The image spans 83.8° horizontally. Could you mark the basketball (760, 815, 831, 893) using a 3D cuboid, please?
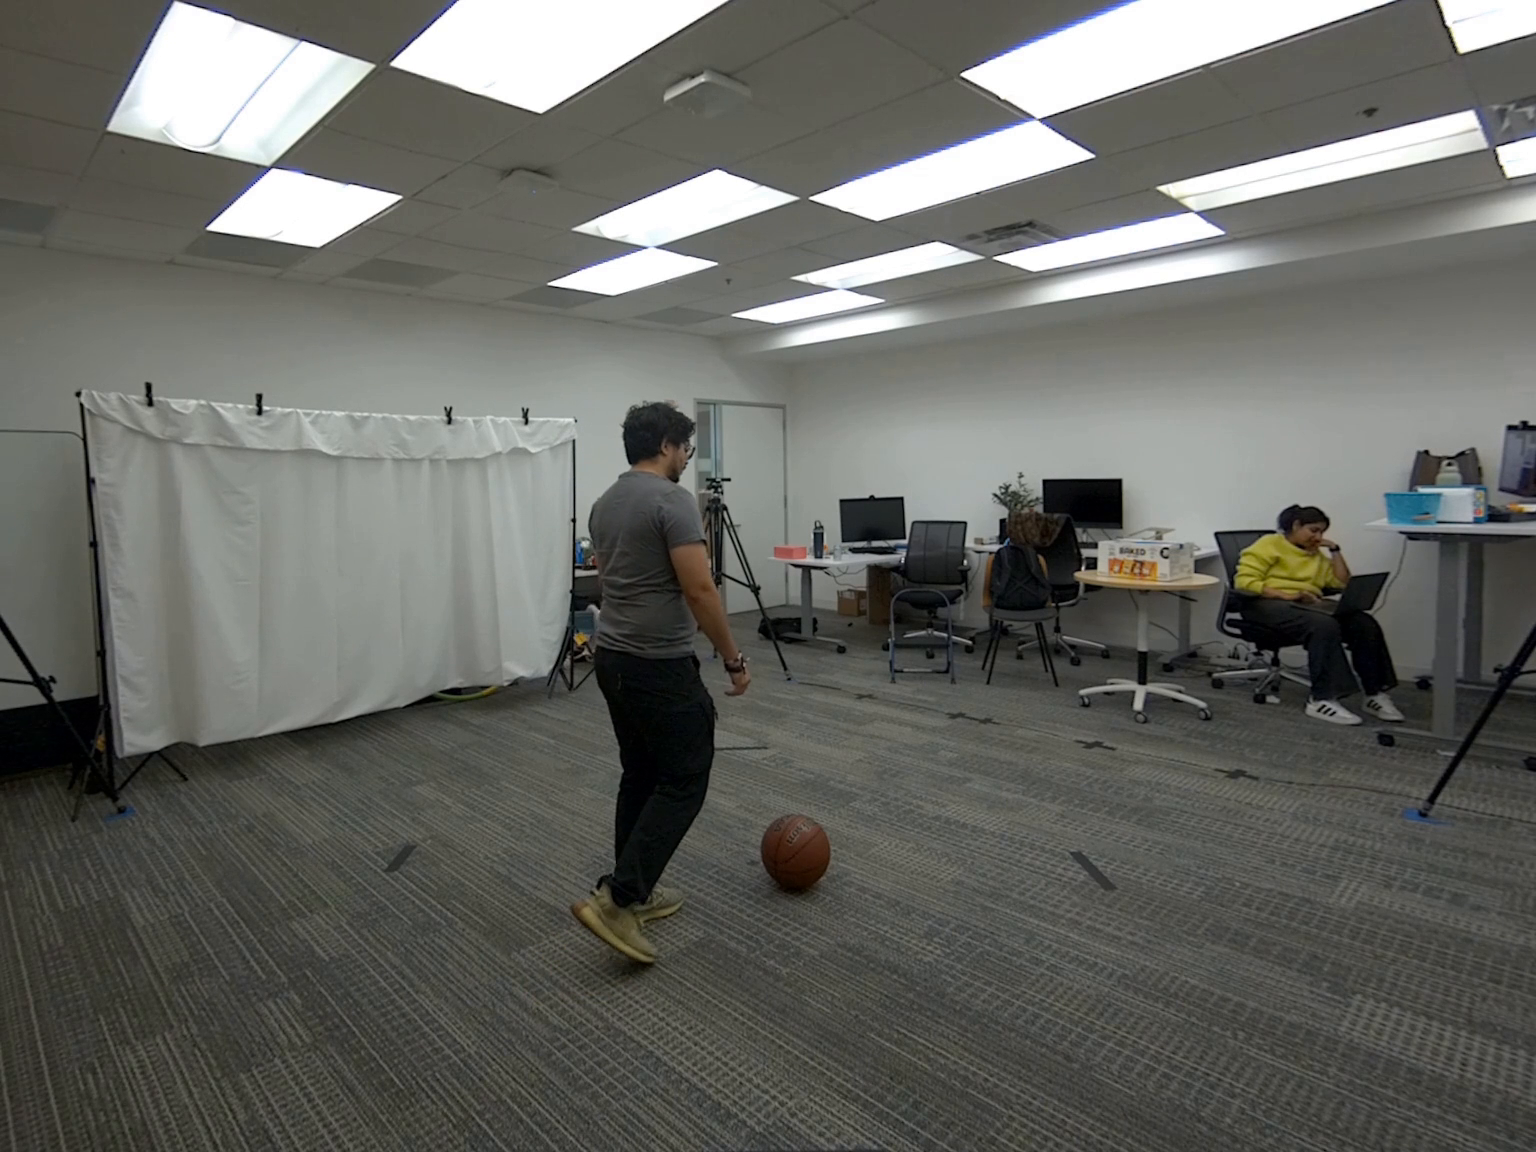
[{"bbox_3d":[0.096,0.937,2.924,0.236,0.235,0.237,-1,5,-2],"label":"basketball"}]
